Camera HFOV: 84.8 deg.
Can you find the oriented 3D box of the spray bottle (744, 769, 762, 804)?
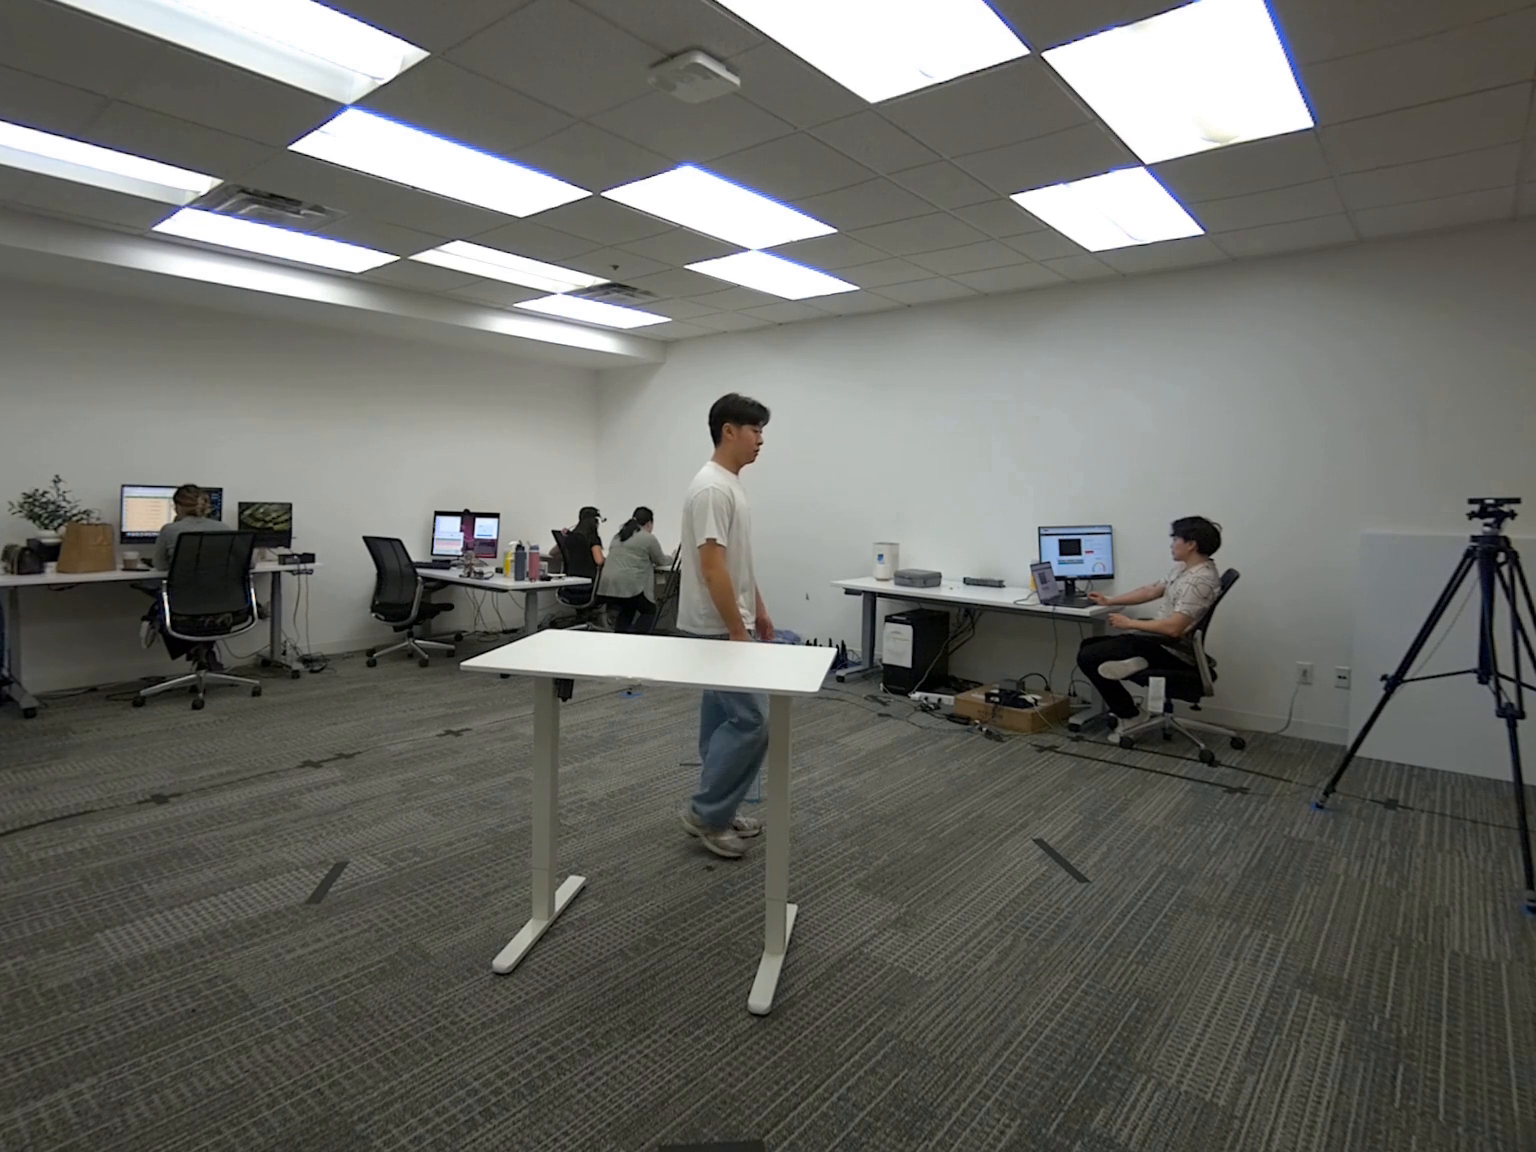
[{"bbox_3d":[-0.087,0.854,3.801,0.092,0.296,0.085,2,3,28],"label":"spray bottle"}]
